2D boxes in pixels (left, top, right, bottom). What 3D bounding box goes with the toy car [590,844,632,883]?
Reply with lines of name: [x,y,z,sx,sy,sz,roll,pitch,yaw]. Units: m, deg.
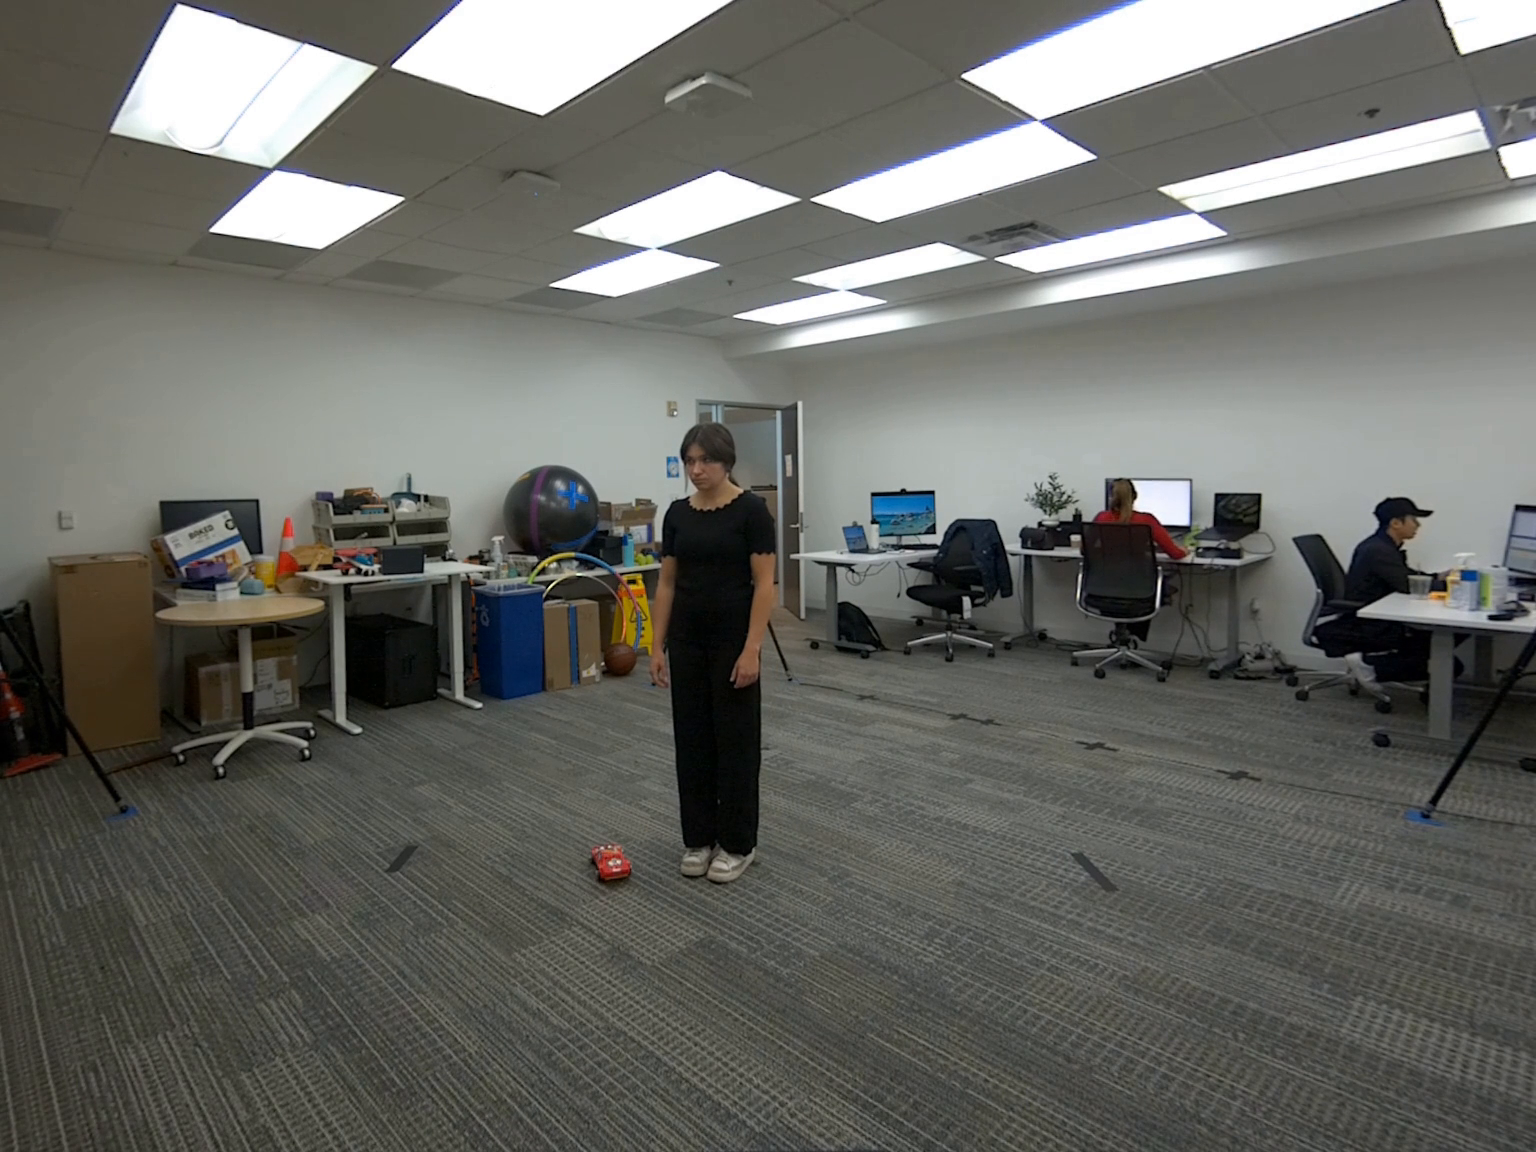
toy car: [-0.560,1.027,3.055,0.128,0.083,0.257,-4,-4,-20]
